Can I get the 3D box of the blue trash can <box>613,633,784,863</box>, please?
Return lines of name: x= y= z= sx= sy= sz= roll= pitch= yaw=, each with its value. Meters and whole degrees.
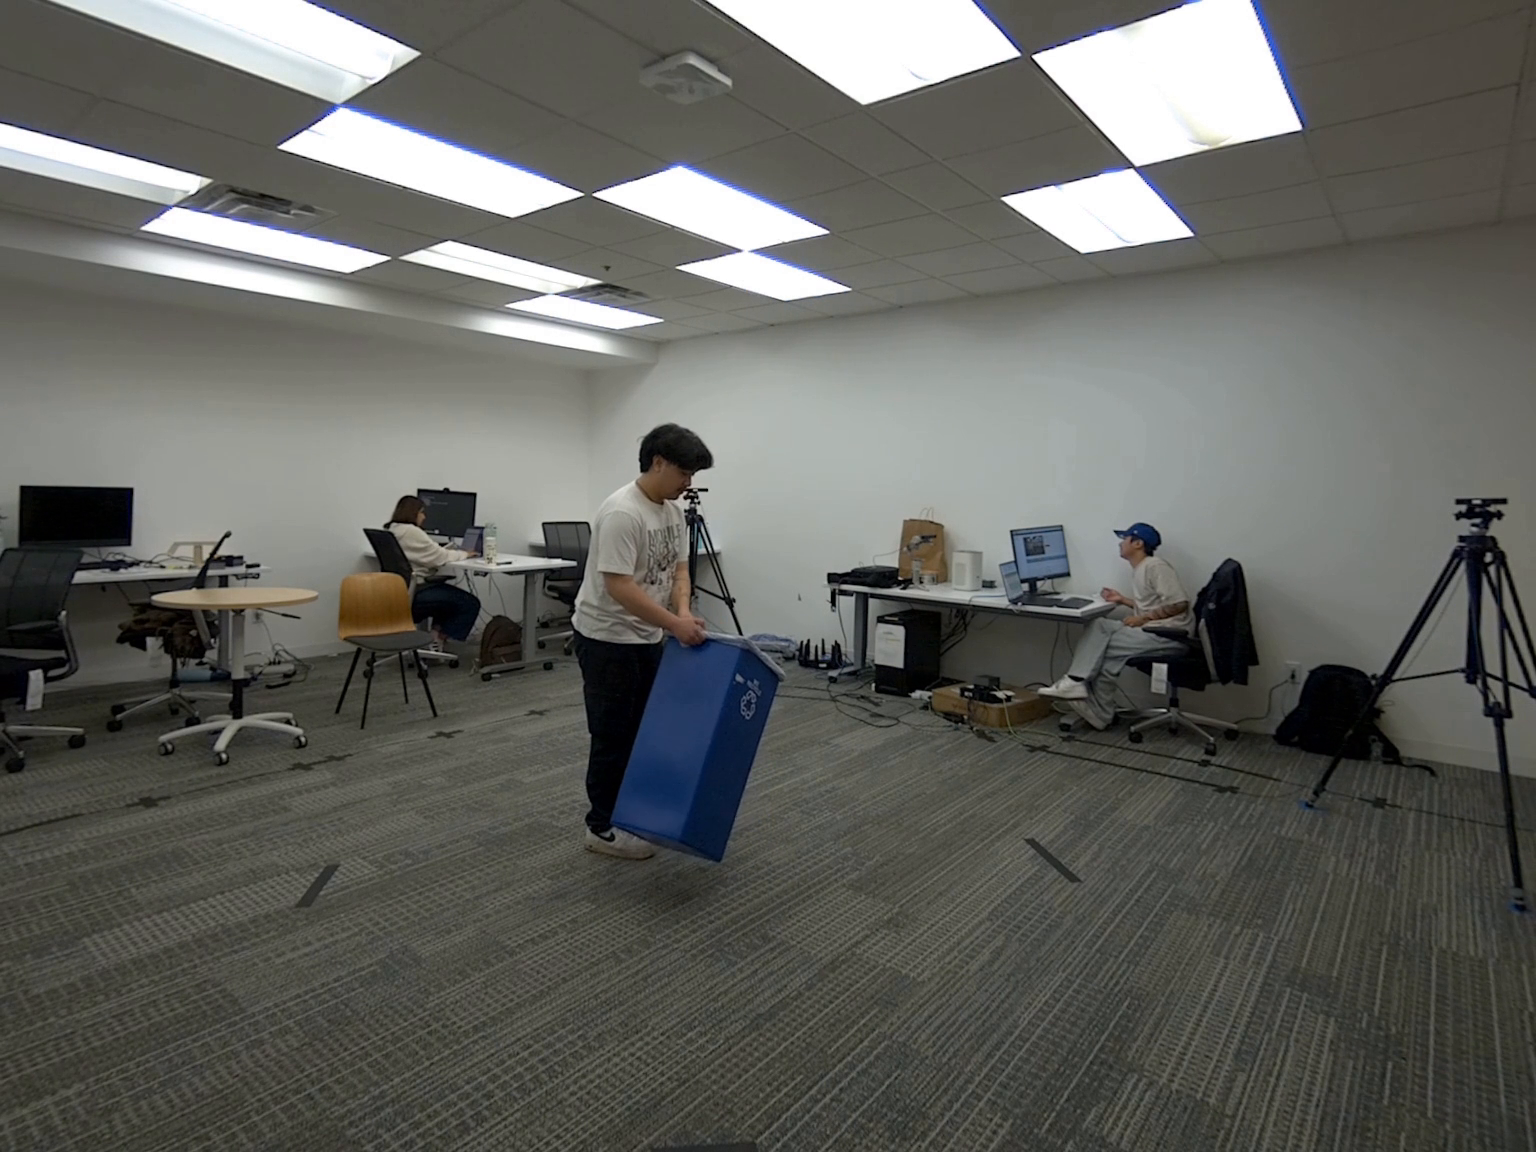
blue trash can: x=-0.258 y=0.604 z=3.068 sx=0.389 sy=0.722 sz=0.358 roll=3 pitch=-27 yaw=31
